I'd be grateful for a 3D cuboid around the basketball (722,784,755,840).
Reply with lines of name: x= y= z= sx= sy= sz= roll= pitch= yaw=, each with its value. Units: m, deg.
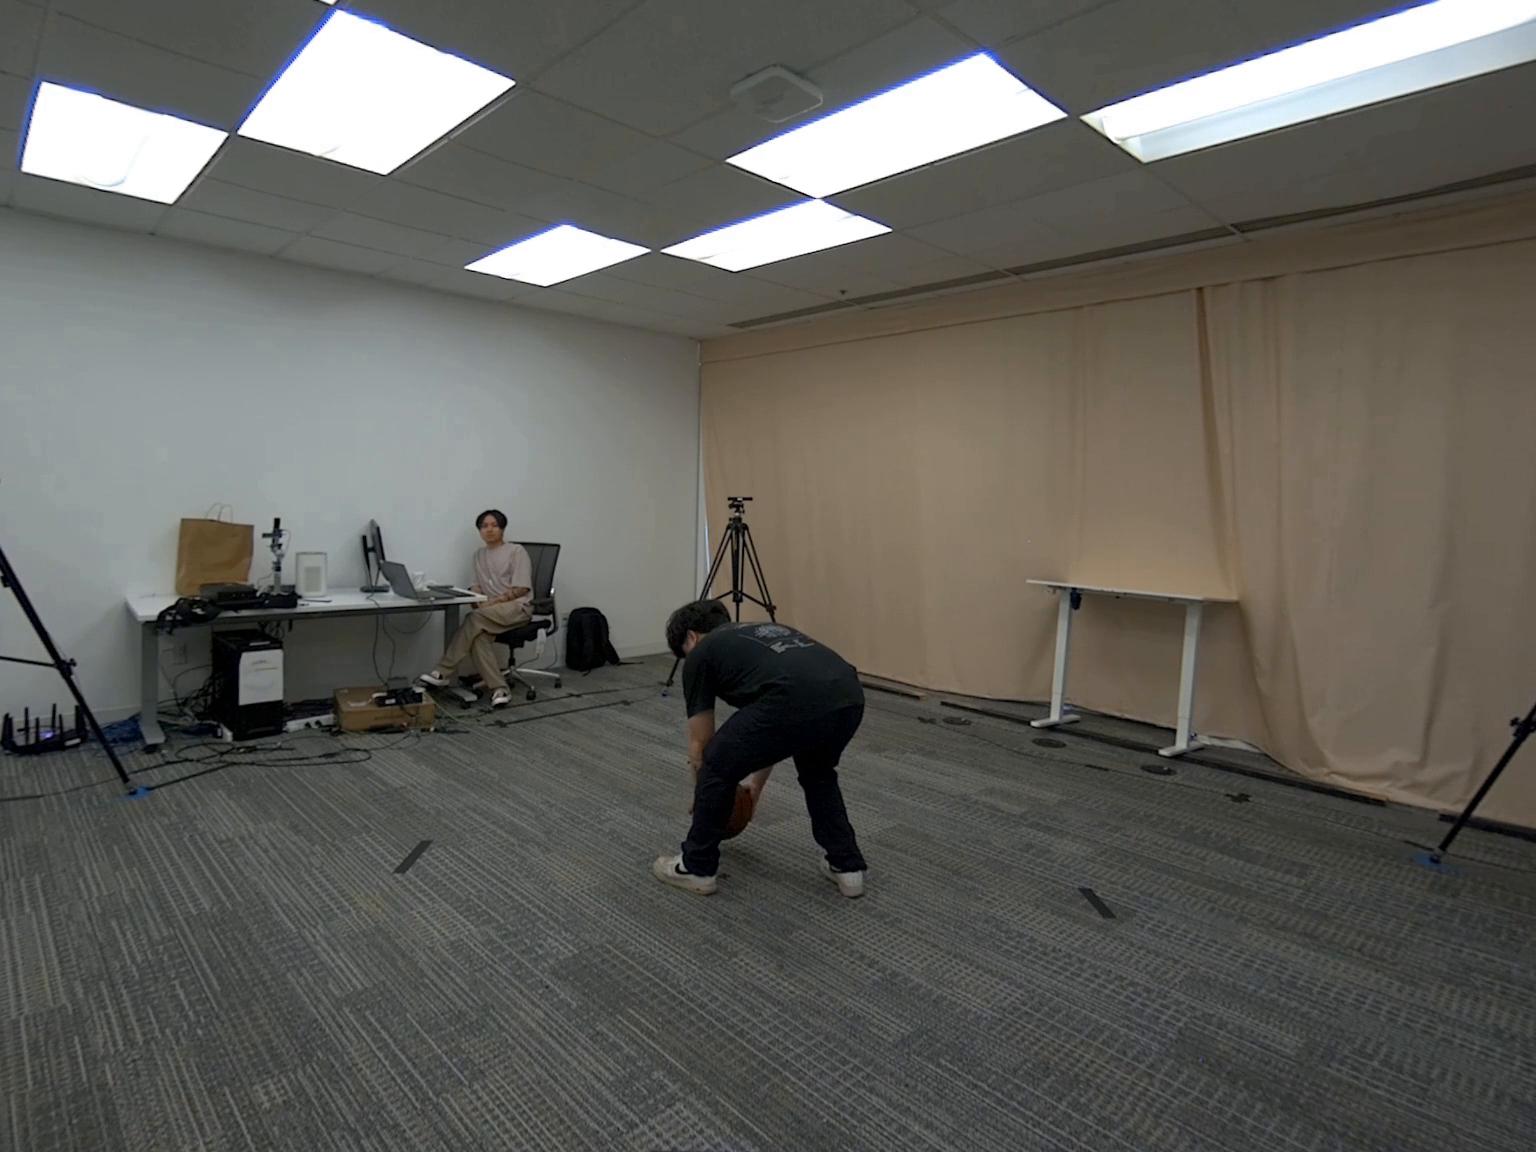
basketball: x=-0.184 y=0.910 z=3.307 sx=0.236 sy=0.235 sz=0.237 roll=1 pitch=4 yaw=-1
